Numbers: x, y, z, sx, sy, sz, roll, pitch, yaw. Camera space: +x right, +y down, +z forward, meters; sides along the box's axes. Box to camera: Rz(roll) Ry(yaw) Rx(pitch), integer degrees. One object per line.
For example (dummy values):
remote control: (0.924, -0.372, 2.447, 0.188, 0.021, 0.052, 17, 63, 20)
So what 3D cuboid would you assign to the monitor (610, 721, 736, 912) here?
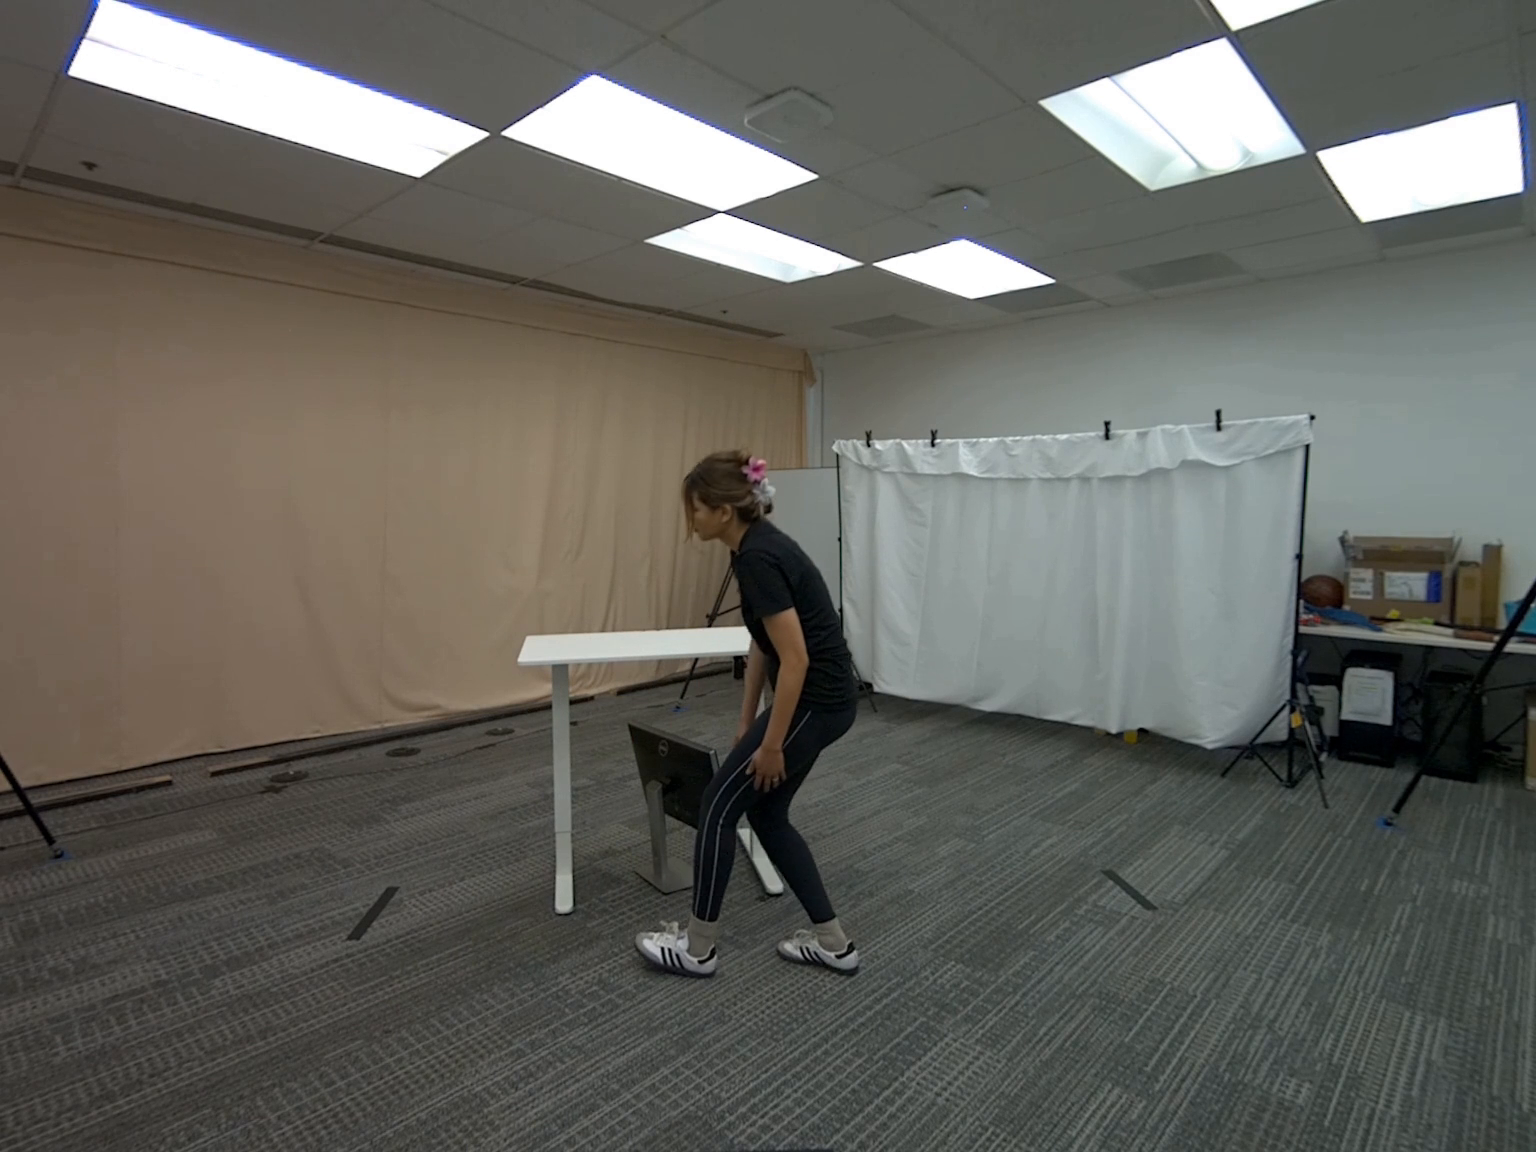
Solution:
monitor: (-0.366, 0.866, 3.153, 0.181, 0.522, 0.557, -1, 4, -40)
